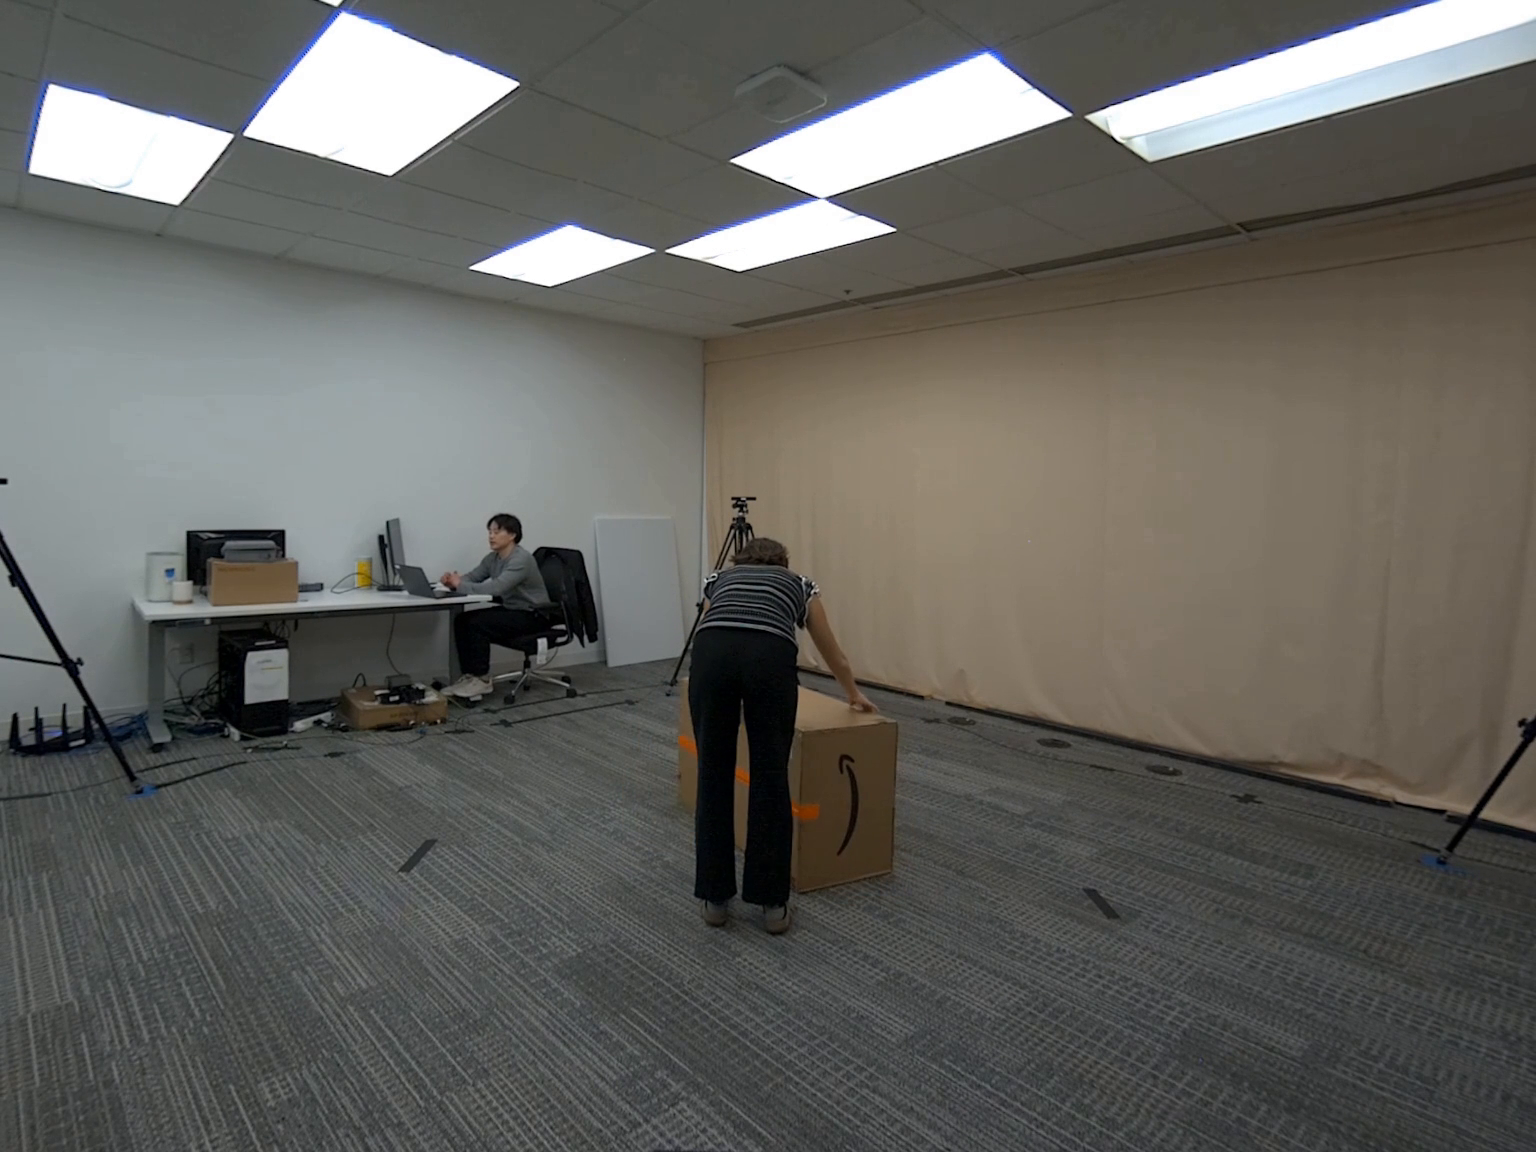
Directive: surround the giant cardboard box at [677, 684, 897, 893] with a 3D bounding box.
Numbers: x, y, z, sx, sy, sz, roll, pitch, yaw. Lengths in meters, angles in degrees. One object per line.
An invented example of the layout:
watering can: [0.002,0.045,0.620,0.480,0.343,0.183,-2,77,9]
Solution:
giant cardboard box: [0.029,0.786,3.495,0.418,0.576,1.049,0,4,-30]
